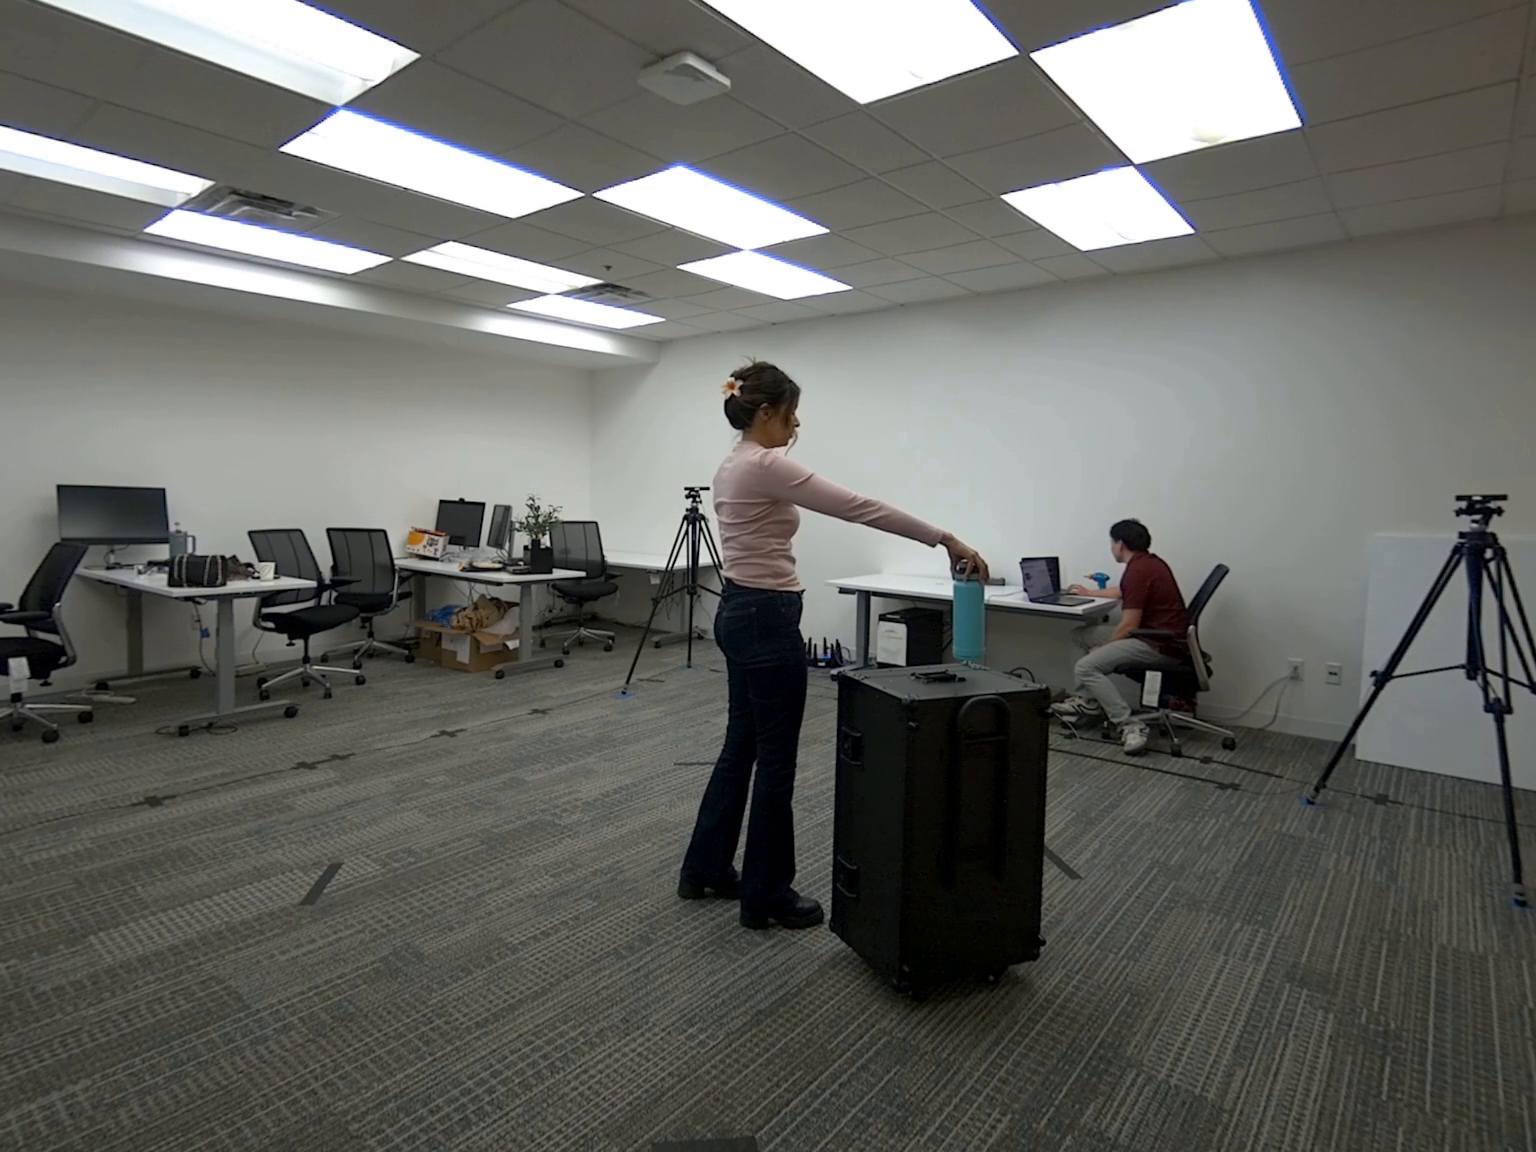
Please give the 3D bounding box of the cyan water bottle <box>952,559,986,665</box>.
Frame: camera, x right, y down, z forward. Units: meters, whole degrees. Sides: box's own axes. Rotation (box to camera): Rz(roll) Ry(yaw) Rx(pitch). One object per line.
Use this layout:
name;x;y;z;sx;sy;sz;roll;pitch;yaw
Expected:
cyan water bottle;0.588;0.096;2.492;0.092;0.283;0.093;1;3;-2
